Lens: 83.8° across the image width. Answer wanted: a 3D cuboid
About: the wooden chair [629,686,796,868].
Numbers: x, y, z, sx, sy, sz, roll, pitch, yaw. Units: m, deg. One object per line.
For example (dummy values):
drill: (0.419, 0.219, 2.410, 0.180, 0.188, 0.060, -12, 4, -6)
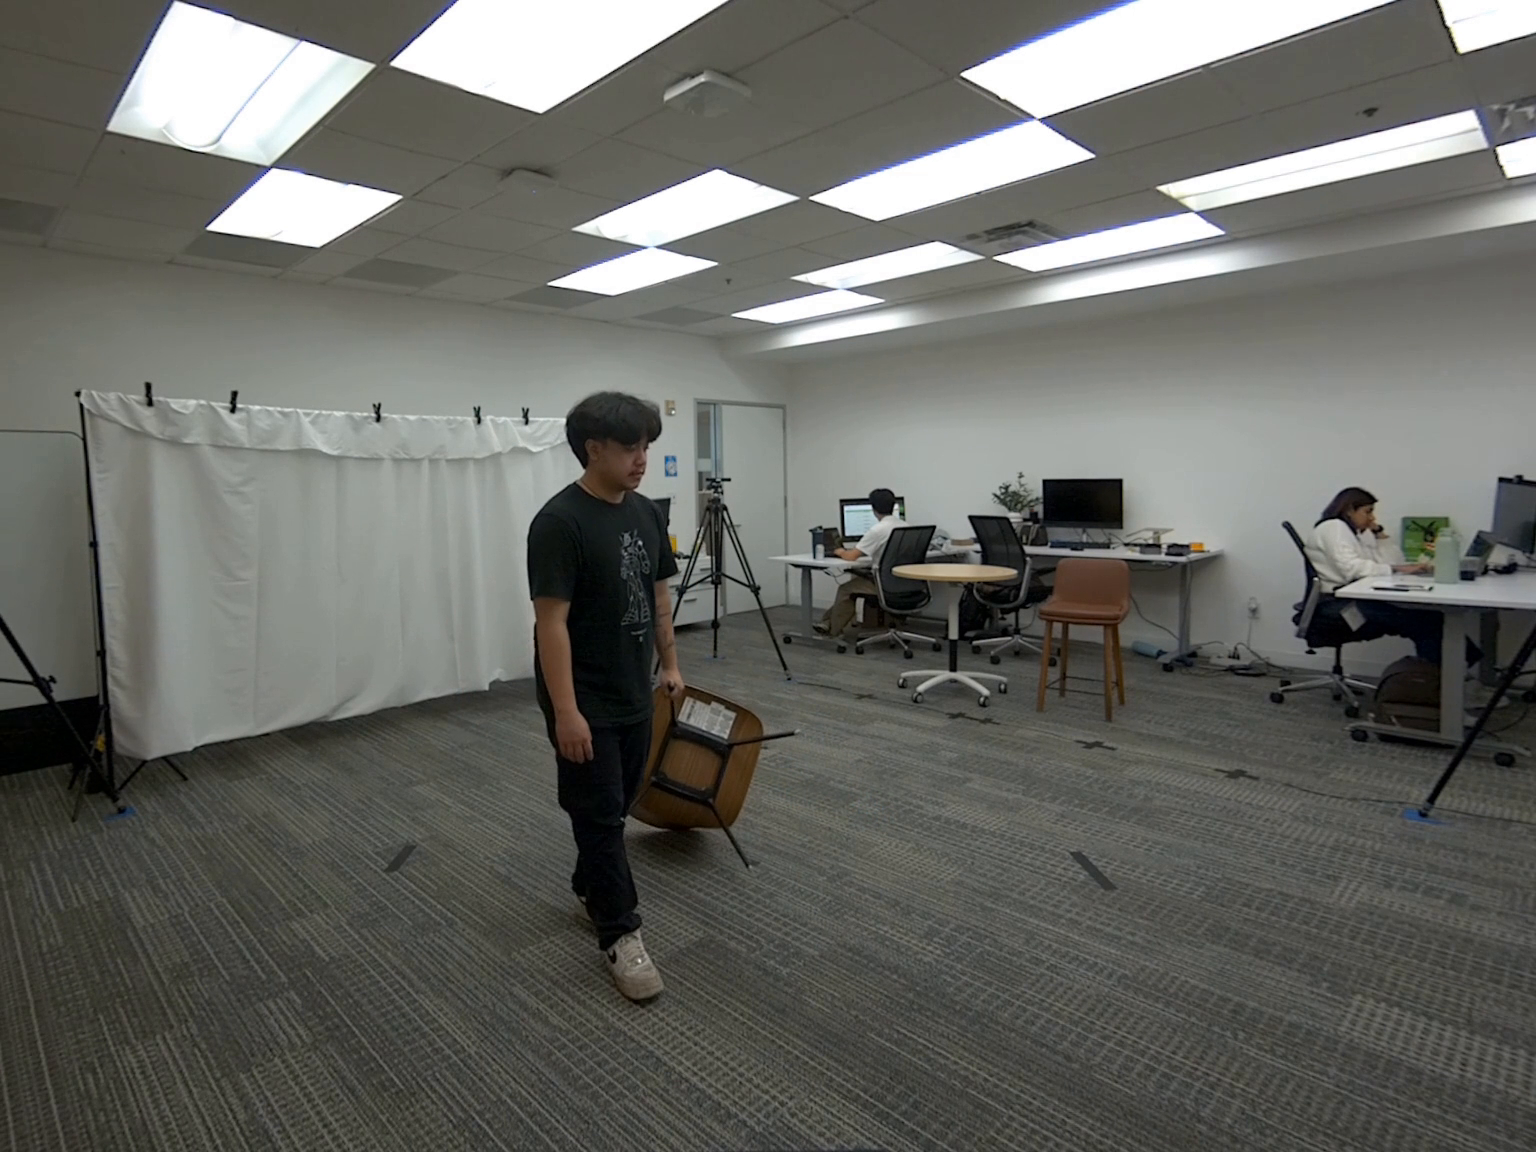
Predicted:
wooden chair: (-0.274, 0.675, 3.063, 0.474, 0.528, 0.877, 21, -16, -8)
